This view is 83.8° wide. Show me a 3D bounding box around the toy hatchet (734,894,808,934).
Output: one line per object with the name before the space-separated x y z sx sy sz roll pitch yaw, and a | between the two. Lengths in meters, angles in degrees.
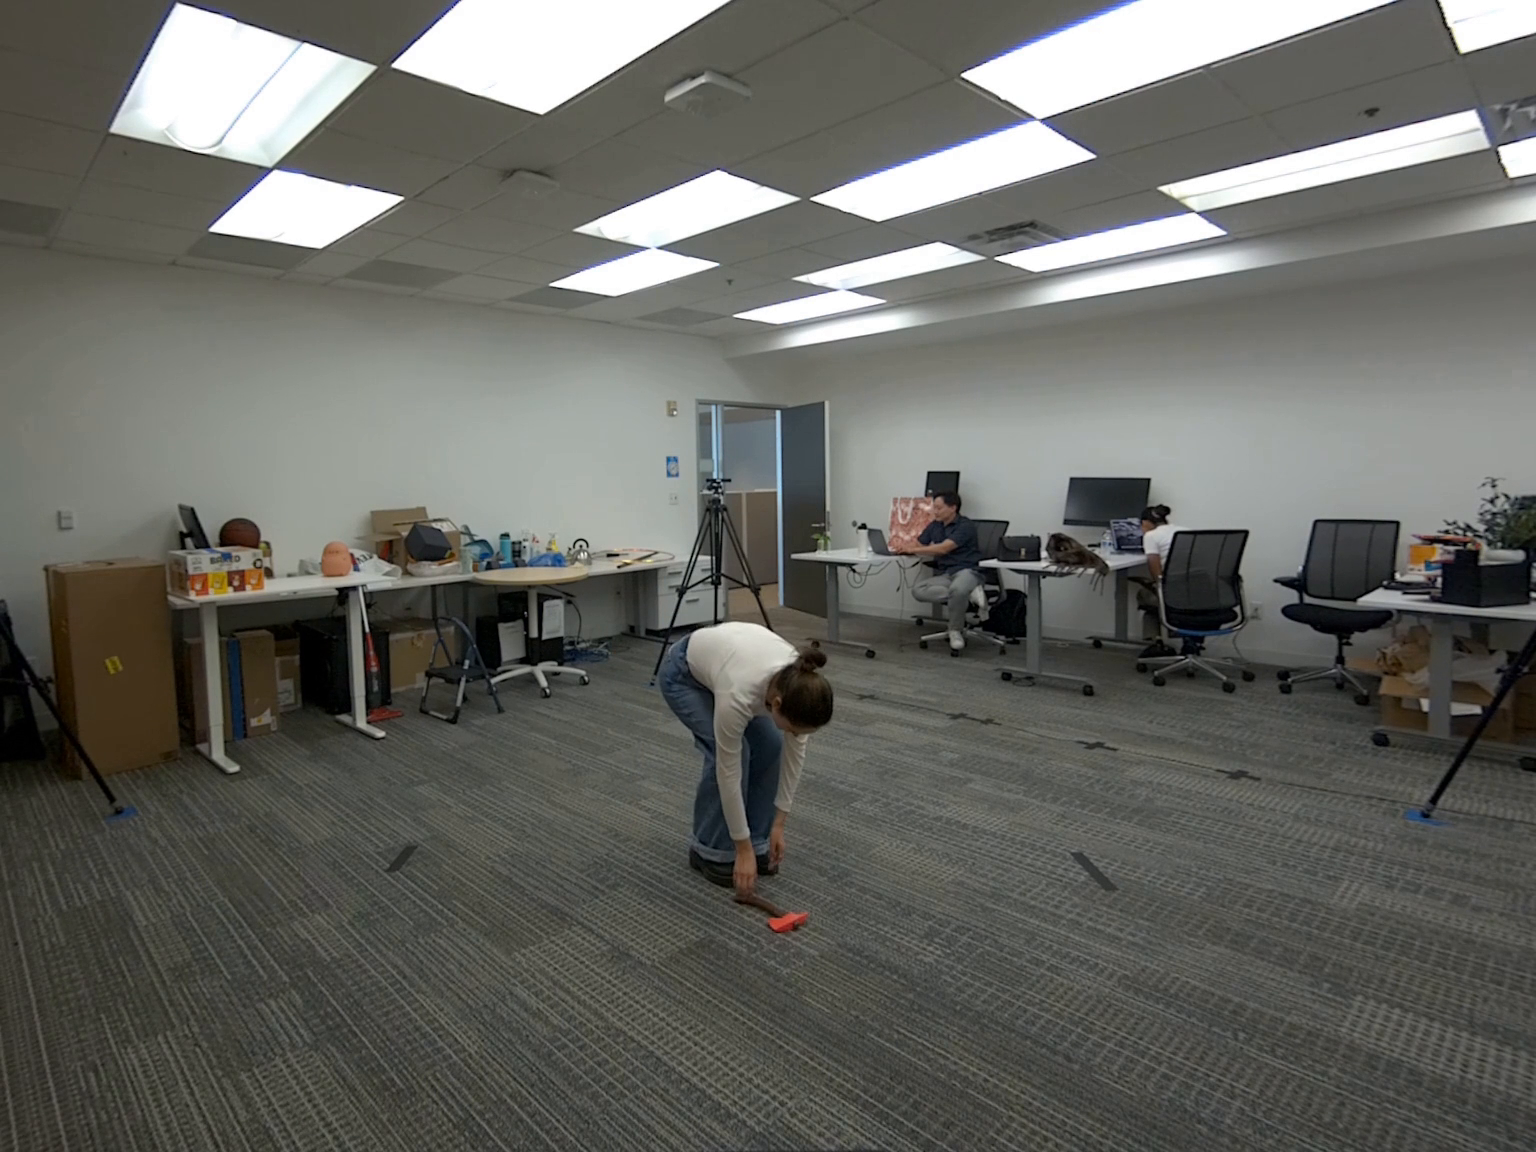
toy hatchet | -0.016 1.080 2.726 0.277 0.029 0.128 0 9 36
